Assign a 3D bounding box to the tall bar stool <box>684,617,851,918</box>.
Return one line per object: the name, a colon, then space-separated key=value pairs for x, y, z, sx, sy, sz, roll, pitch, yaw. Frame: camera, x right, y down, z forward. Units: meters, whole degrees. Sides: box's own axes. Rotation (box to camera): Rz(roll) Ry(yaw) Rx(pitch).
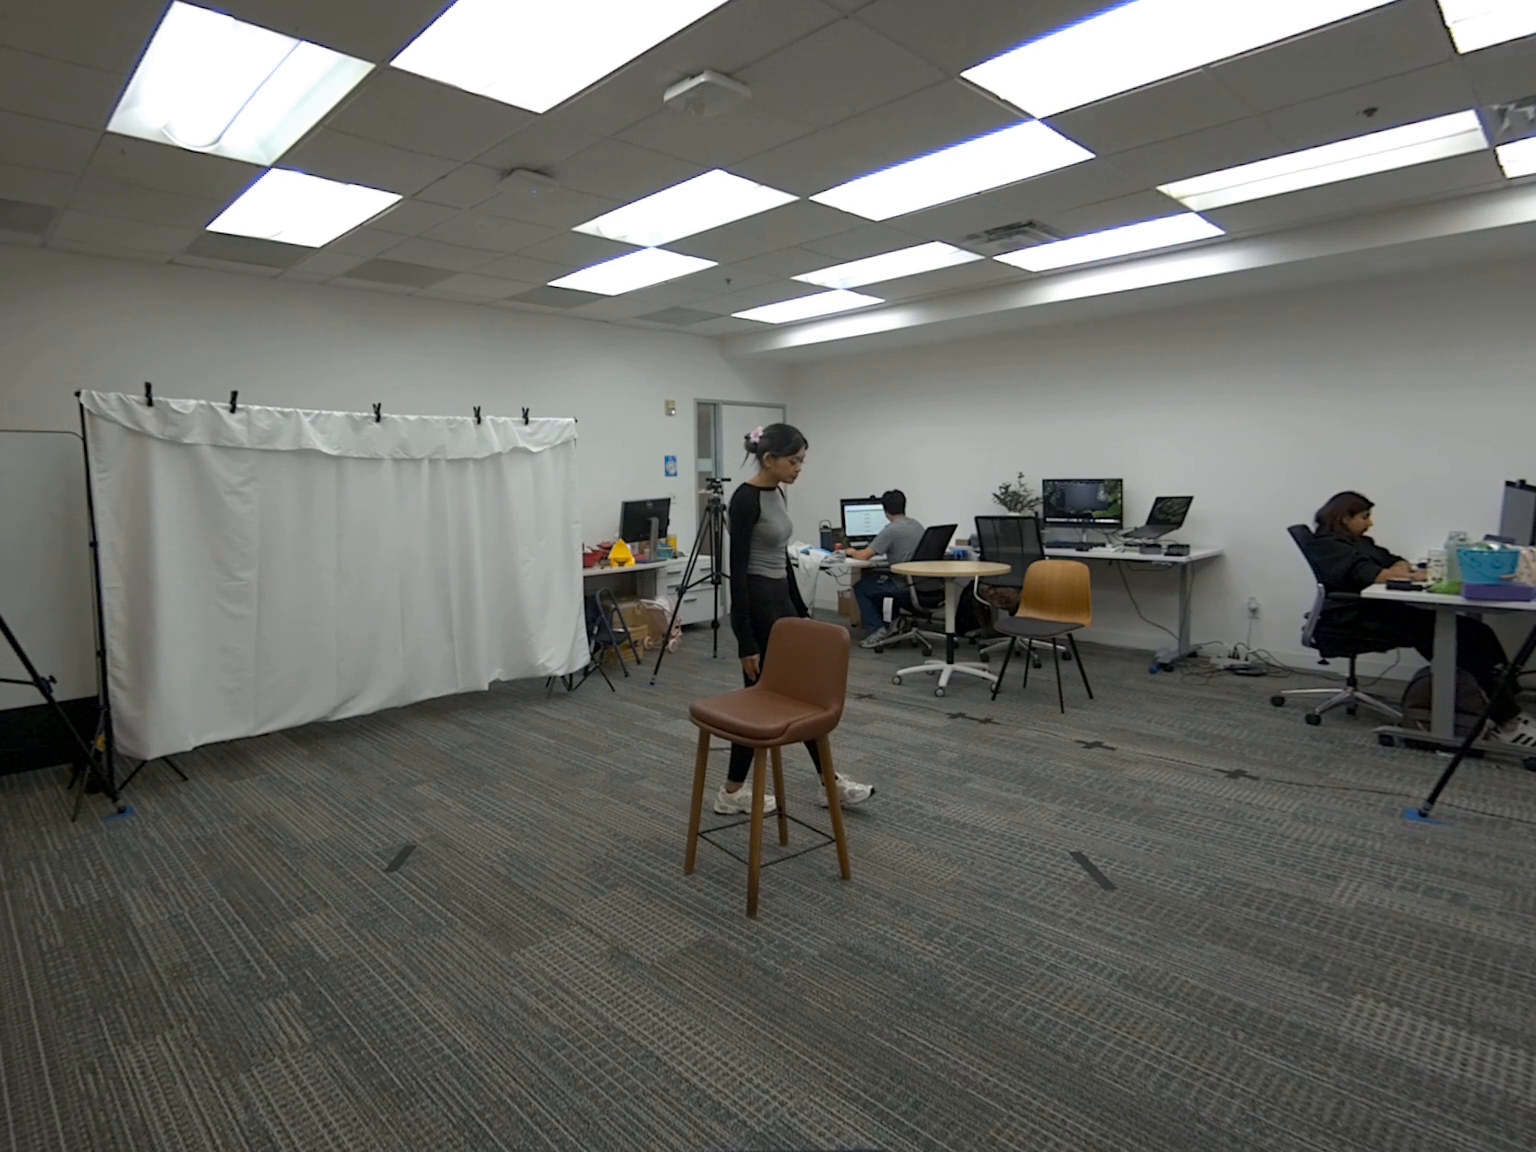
tall bar stool: x=0.001 y=0.621 z=2.973 sx=0.455 sy=0.888 sz=0.470 roll=-1 pitch=3 yaw=-37
